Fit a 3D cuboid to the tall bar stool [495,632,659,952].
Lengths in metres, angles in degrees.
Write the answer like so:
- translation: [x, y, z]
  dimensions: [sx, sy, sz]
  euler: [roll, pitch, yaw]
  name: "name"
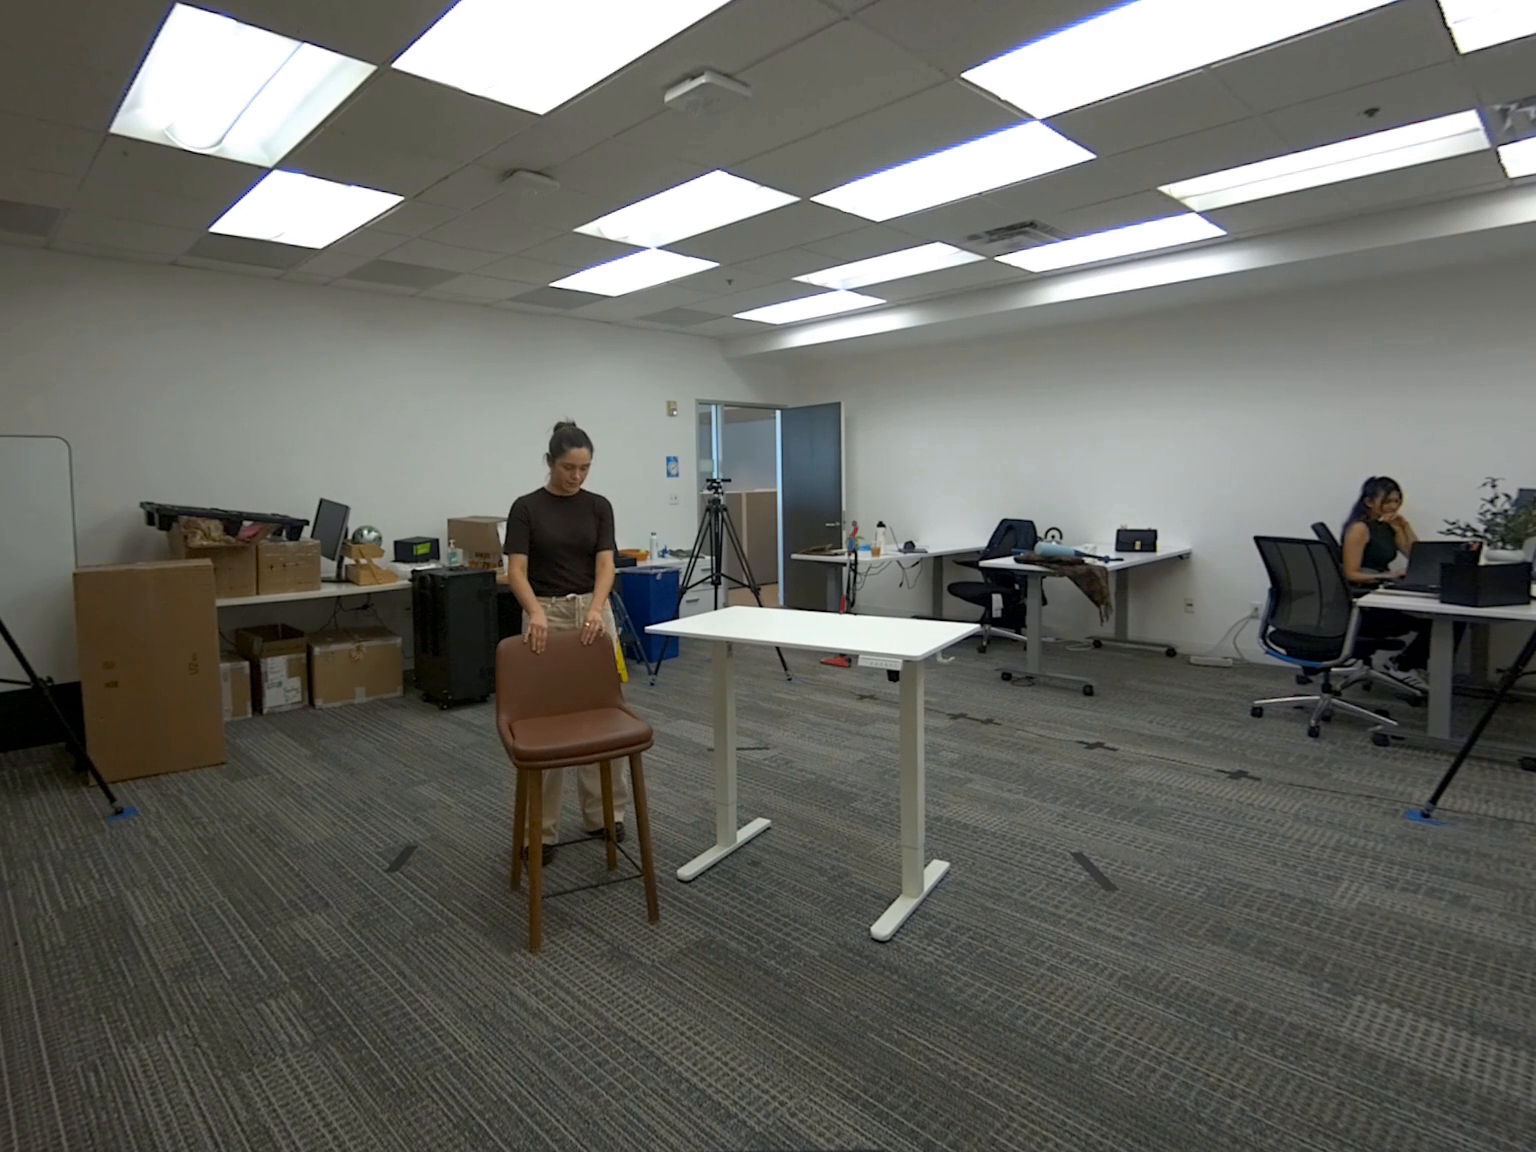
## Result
- translation: [-0.637, 0.647, 2.808]
  dimensions: [0.447, 0.888, 0.478]
  euler: [-3, 2, -25]
  name: "tall bar stool"
